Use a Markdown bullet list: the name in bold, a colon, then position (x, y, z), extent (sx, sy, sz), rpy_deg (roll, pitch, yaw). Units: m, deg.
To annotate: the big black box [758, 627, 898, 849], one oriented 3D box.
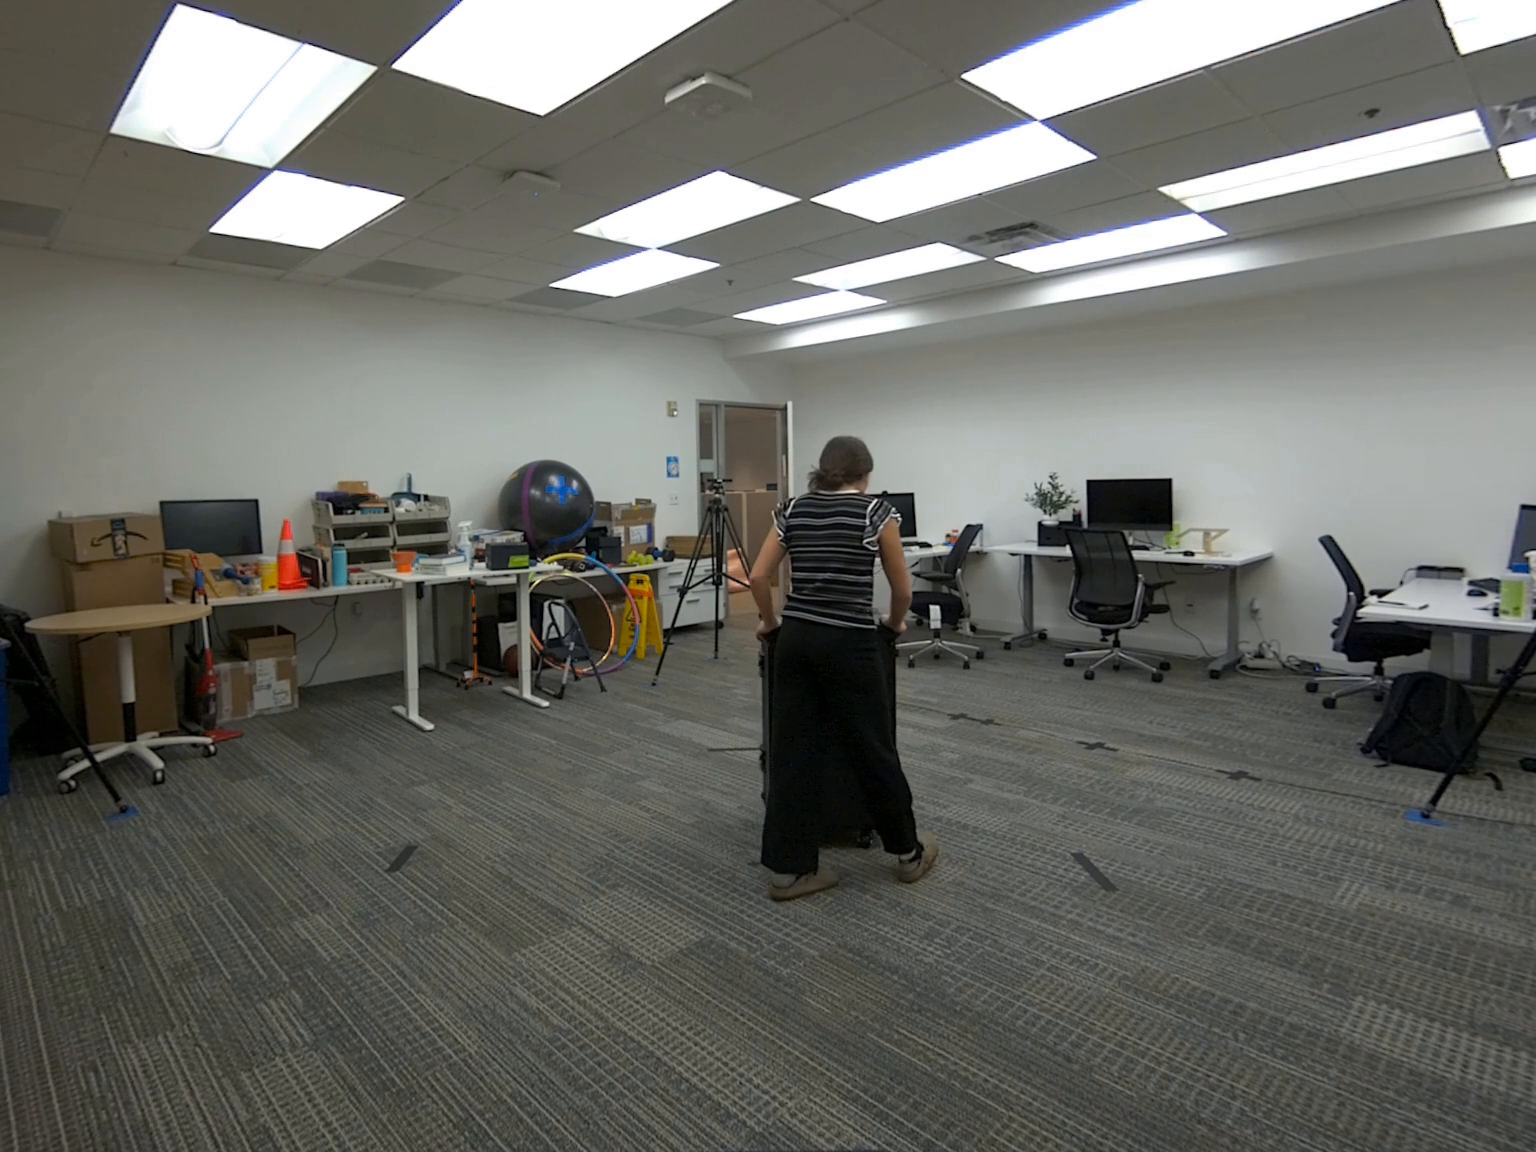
- **big black box**: position (0.232, 0.590, 3.353), extent (0.521, 0.858, 0.398), rpy_deg (0, 4, -2)
